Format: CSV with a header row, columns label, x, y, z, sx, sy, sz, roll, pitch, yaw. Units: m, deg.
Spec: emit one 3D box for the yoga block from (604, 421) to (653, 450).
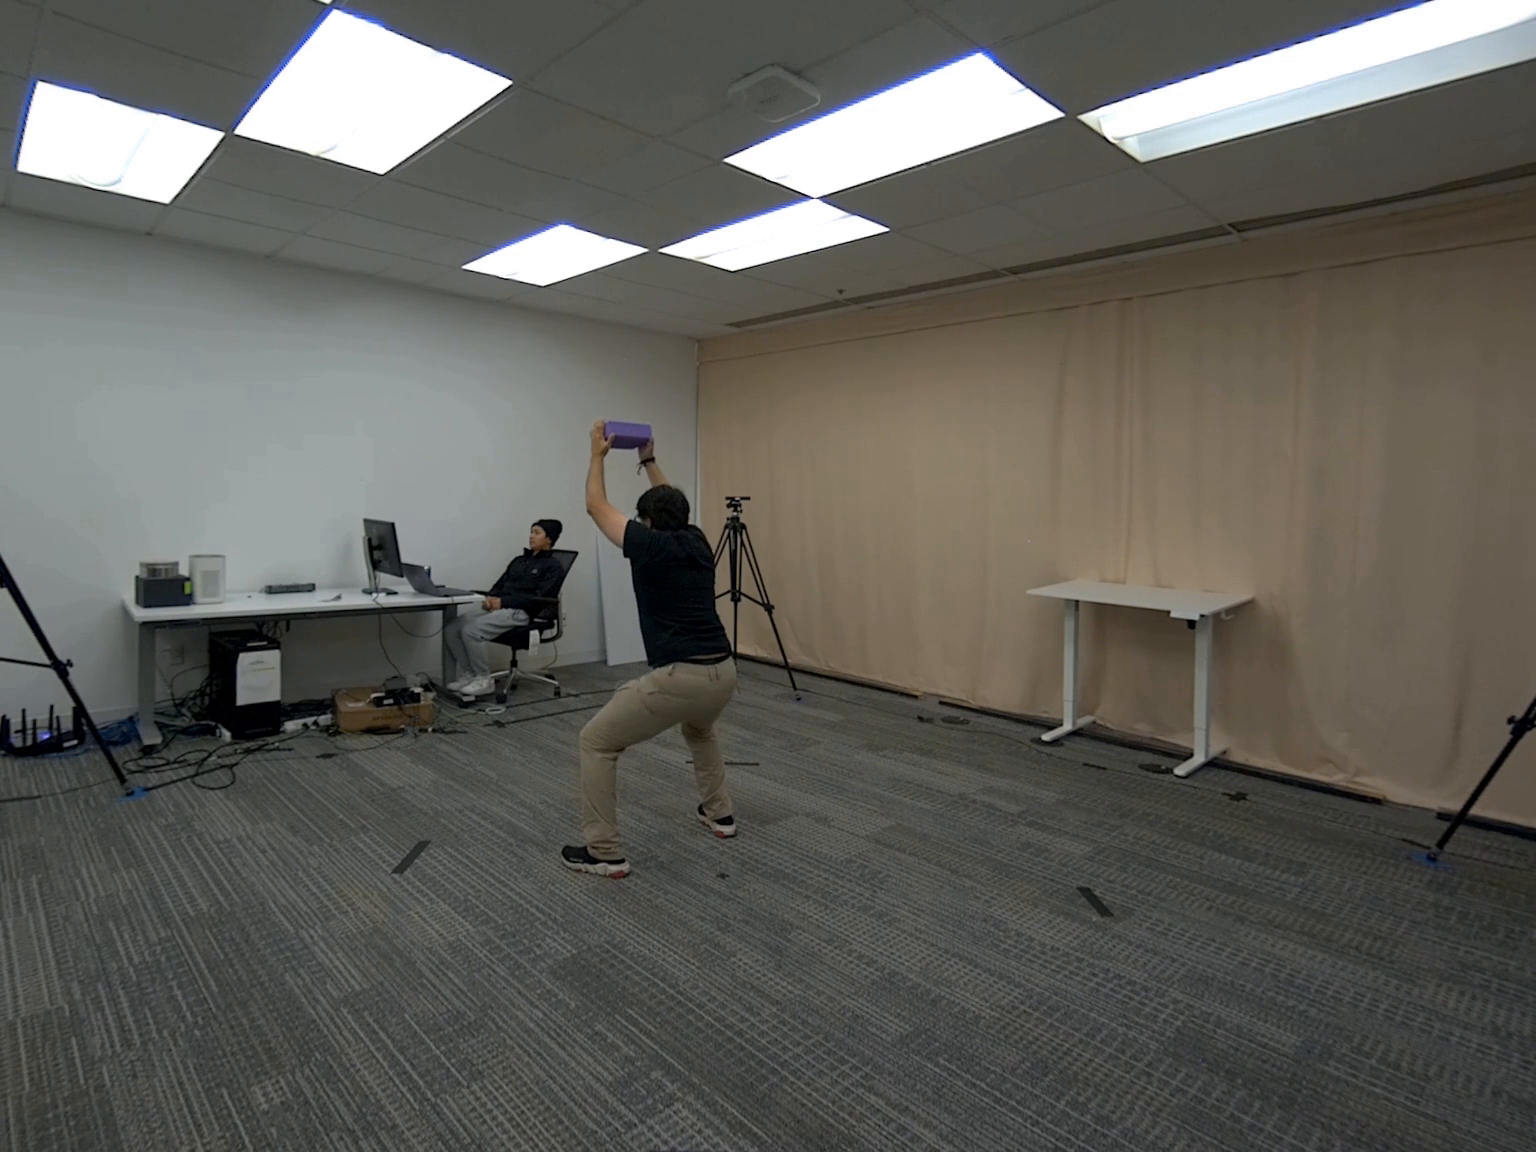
label,x,y,z,sx,sy,sz,roll,pitch,yaw
yoga block,-0.635,-0.598,3.578,0.151,0.077,0.224,-20,-10,43
